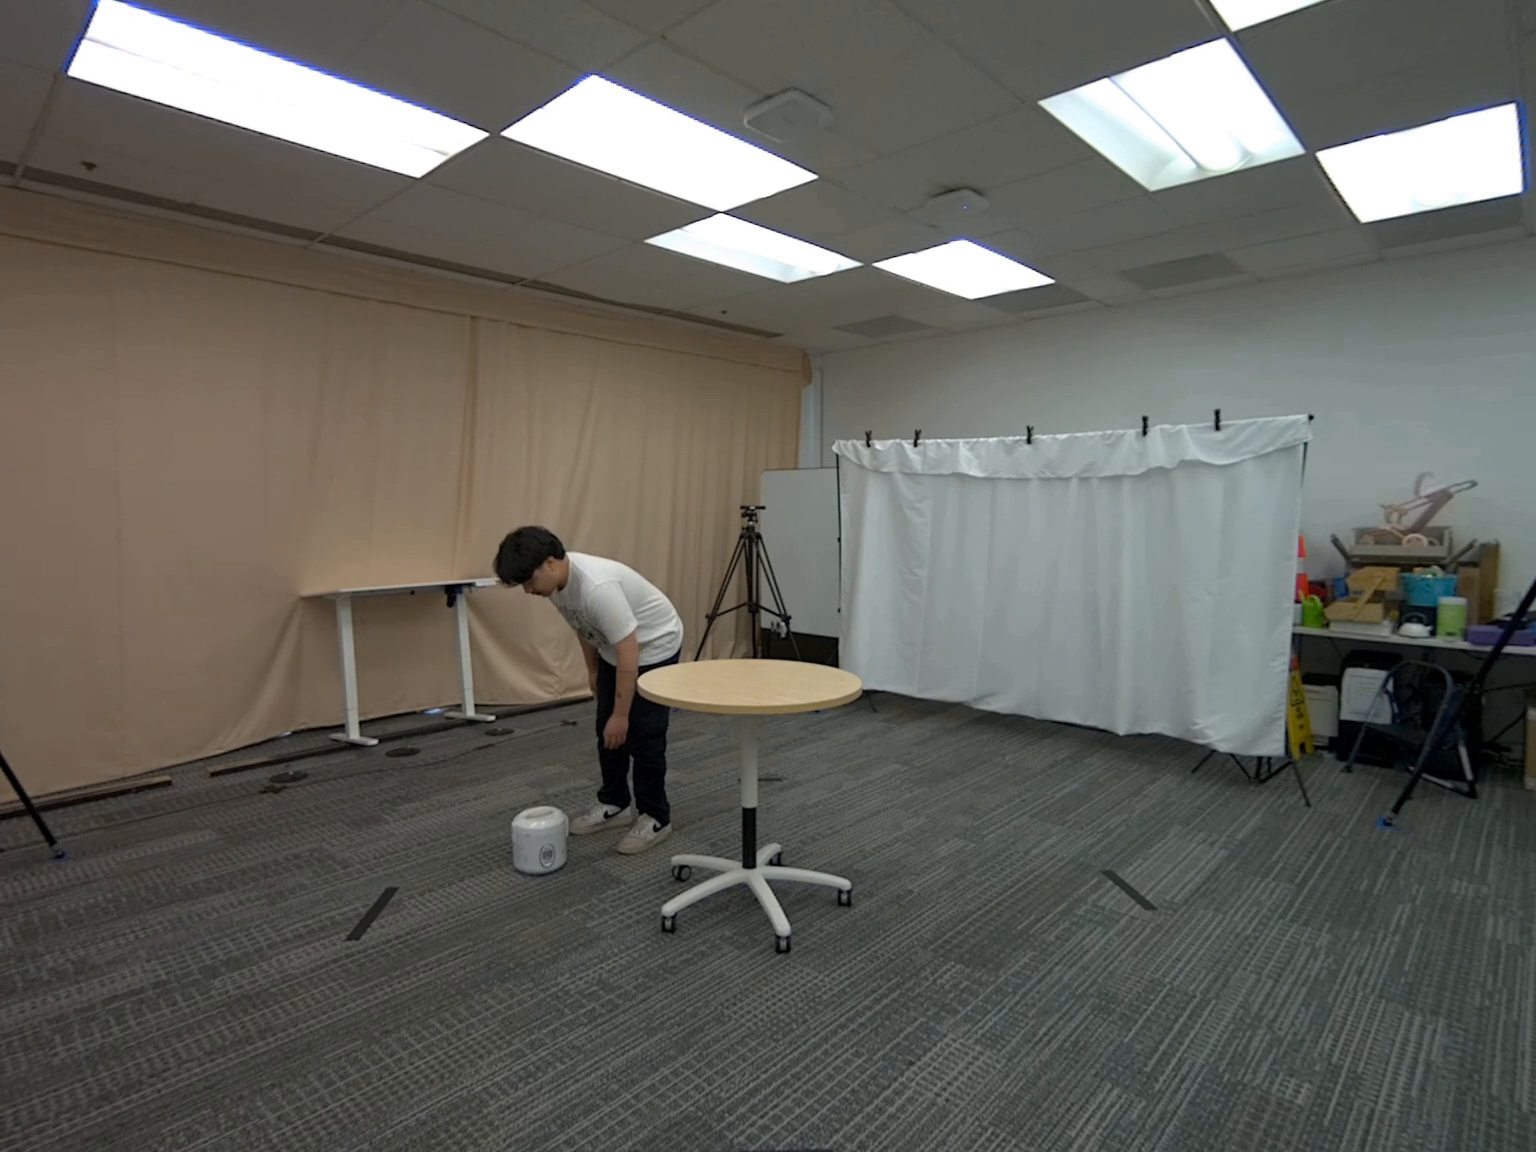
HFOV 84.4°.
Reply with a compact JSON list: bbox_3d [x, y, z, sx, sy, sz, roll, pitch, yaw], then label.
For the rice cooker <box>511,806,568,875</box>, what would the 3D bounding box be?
[{"bbox_3d":[-0.890,1.014,3.266,0.215,0.232,0.223,-2,3,-28],"label":"rice cooker"}]
